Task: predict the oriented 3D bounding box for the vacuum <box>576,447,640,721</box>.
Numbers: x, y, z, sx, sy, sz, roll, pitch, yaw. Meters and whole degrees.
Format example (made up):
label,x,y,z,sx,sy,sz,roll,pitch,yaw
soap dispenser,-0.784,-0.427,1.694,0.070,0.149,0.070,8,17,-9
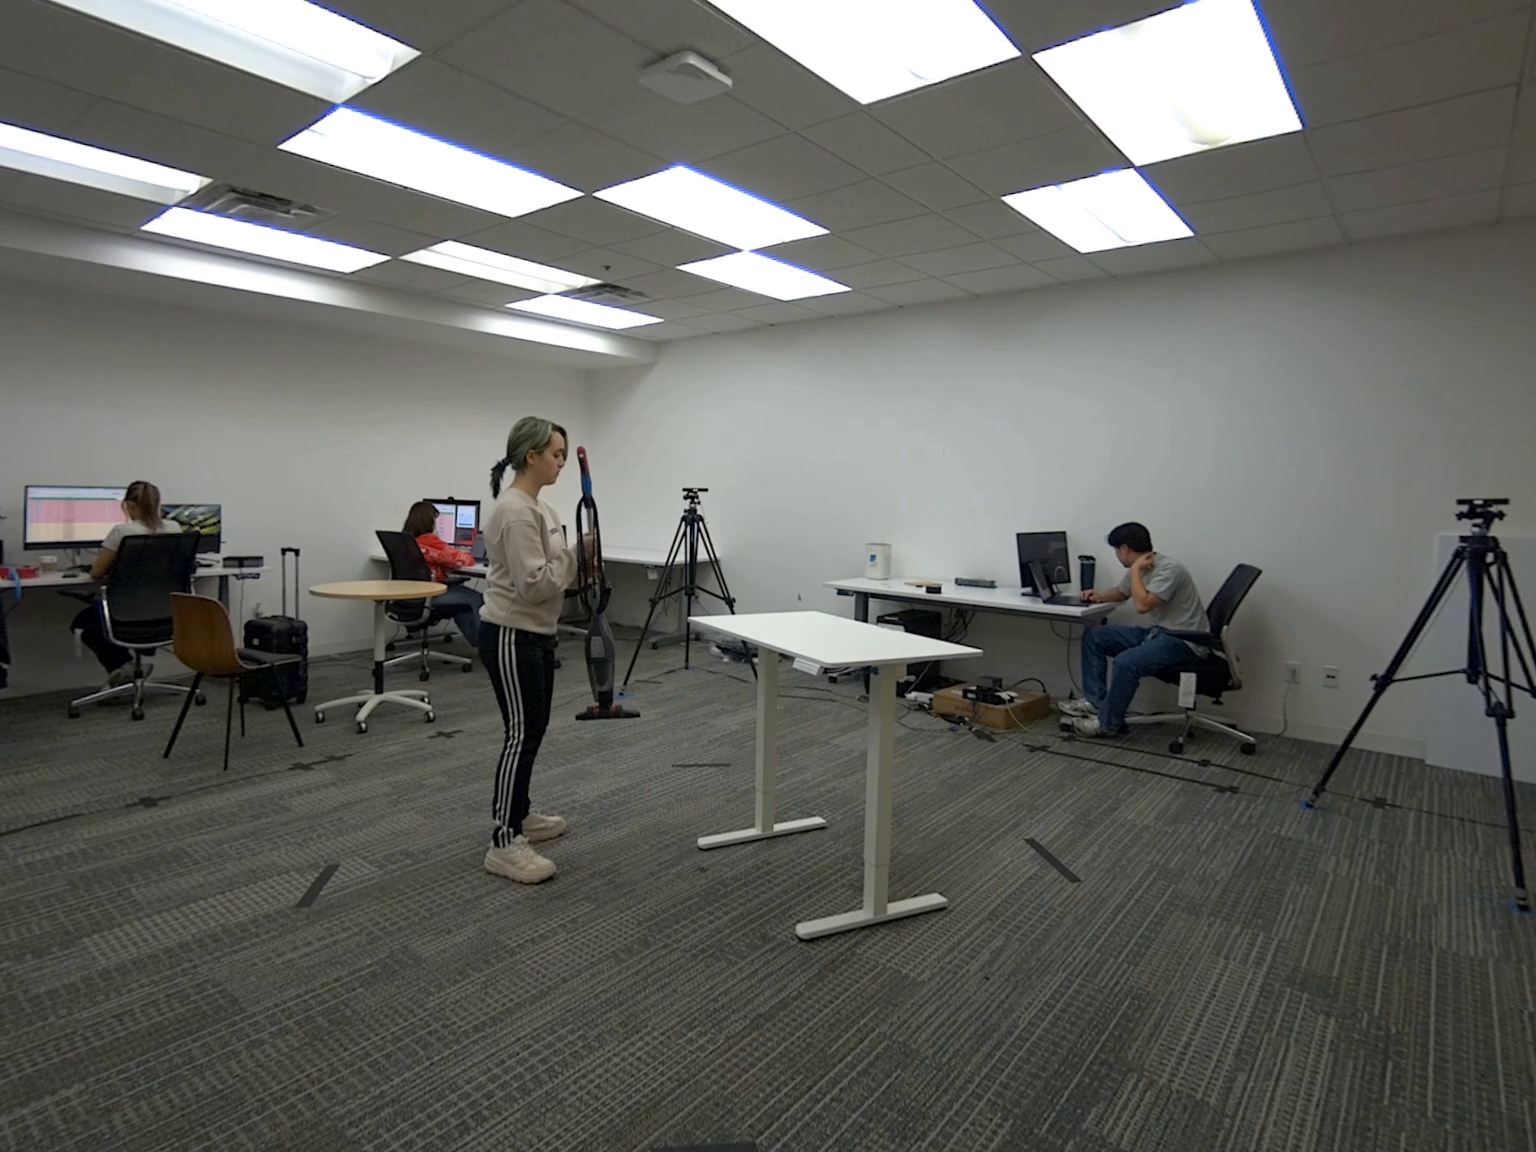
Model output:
label,x,y,z,sx,sy,sz,roll,pitch,yaw
vacuum,-0.661,0.049,3.142,0.254,1.032,0.145,-1,16,4
